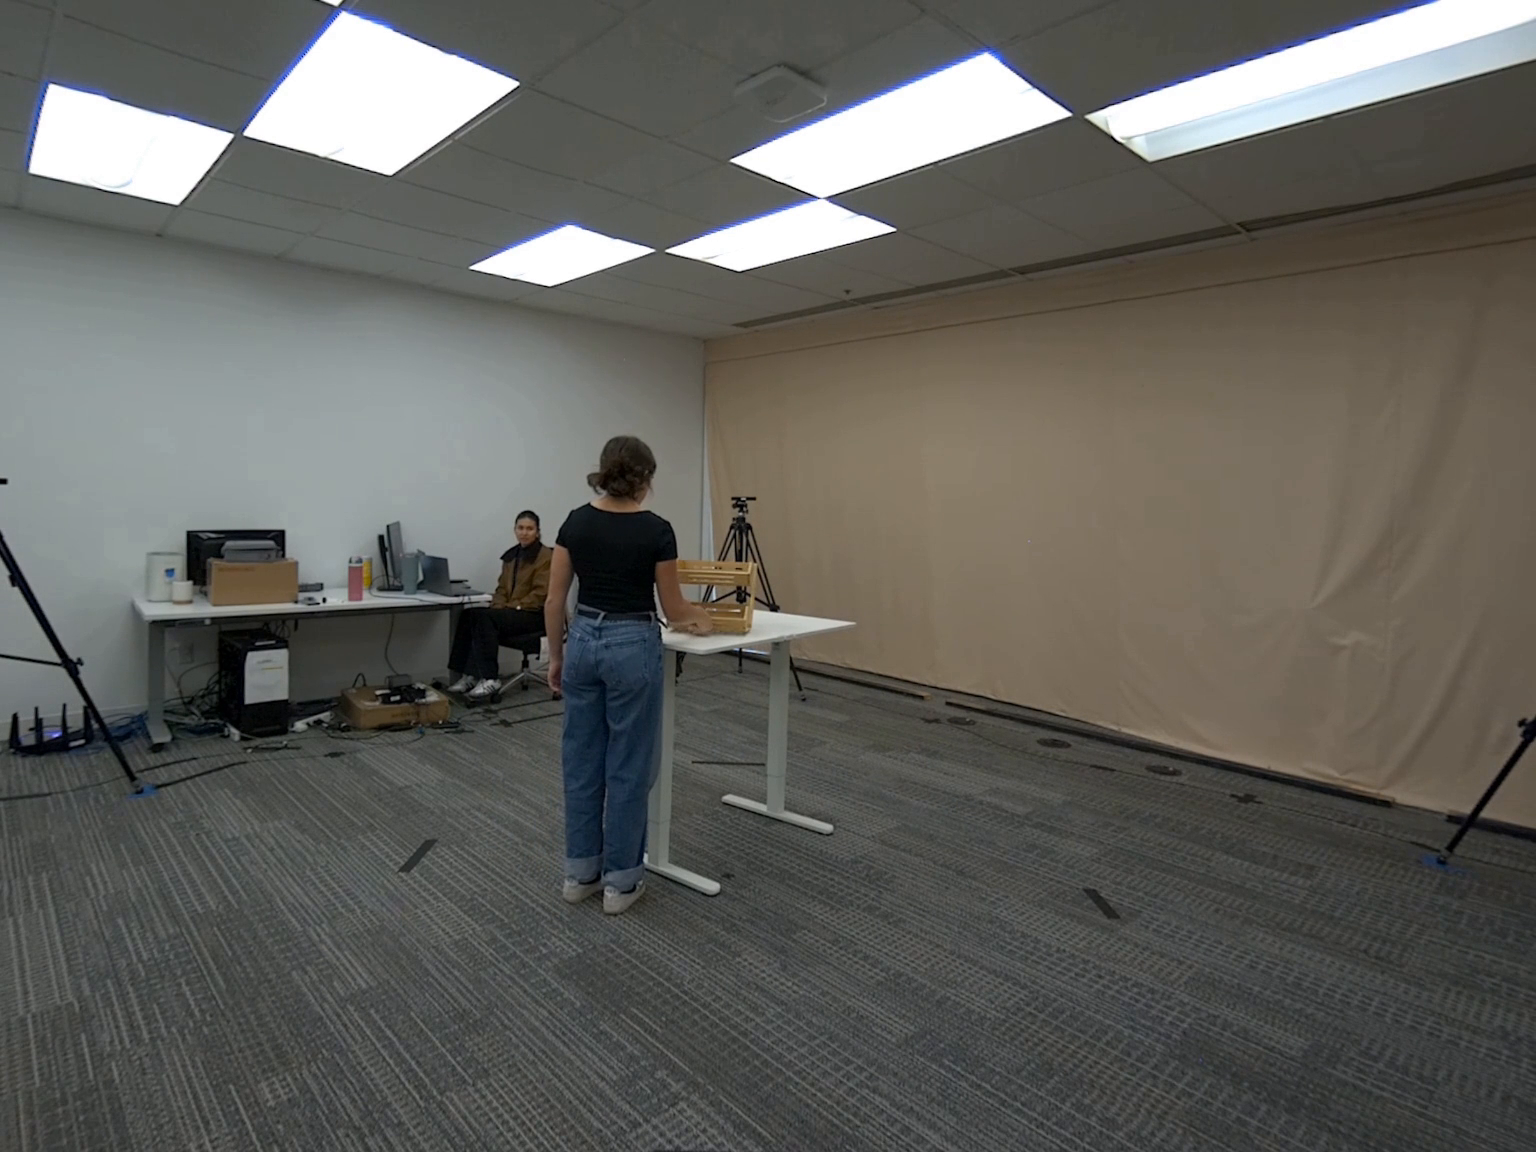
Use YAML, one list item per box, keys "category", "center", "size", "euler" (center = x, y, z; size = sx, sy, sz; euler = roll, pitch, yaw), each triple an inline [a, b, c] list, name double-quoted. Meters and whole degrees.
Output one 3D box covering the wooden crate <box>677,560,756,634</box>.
- category: "wooden crate"
  center: [-0.224, 0.069, 3.283]
  size: [0.326, 0.273, 0.300]
  euler: [3, -1, 5]
